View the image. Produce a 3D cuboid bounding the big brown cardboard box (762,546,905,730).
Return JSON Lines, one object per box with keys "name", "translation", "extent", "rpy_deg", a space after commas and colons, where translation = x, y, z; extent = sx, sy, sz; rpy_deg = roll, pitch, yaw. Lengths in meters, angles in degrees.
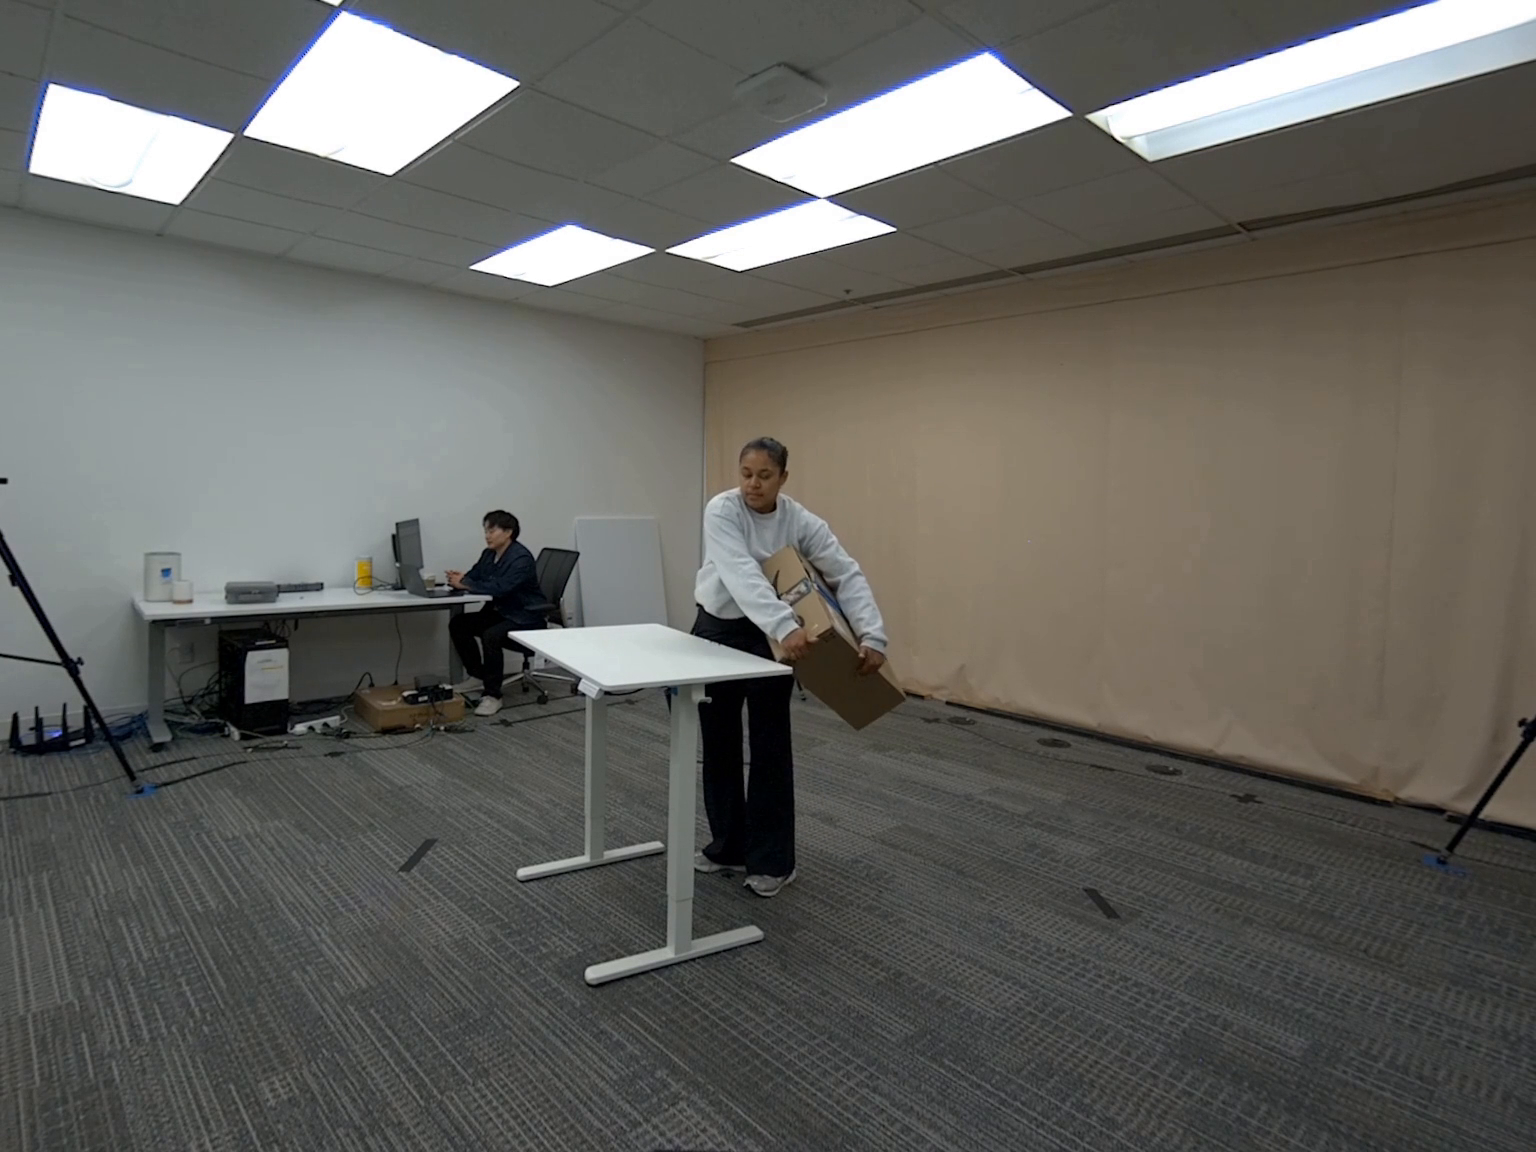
{"name": "big brown cardboard box", "translation": [0.191, 0.210, 2.928], "extent": [0.234, 0.430, 0.570], "rpy_deg": [-35, -46, 11]}
